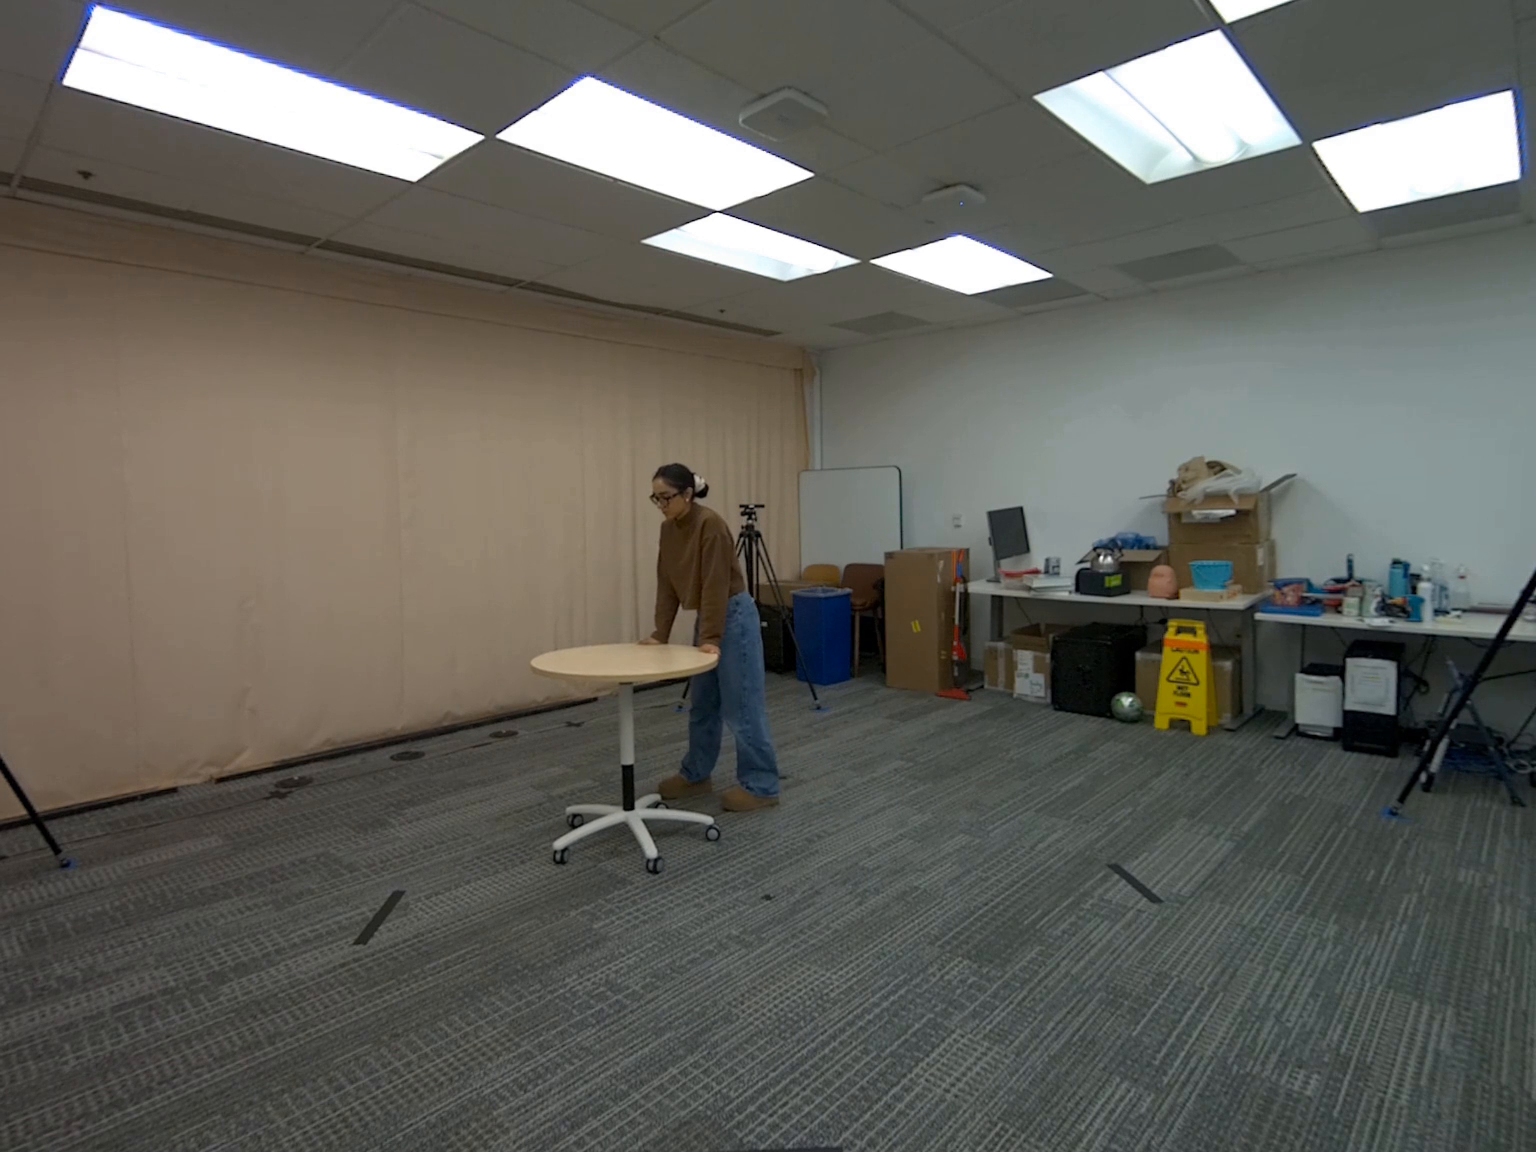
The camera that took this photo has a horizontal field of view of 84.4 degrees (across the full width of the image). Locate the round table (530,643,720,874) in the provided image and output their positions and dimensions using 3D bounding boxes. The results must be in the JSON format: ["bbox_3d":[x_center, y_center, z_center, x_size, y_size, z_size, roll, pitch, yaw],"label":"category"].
[{"bbox_3d":[-0.582,0.726,3.490,0.763,0.792,0.766,-1,3,-2],"label":"round table"}]
